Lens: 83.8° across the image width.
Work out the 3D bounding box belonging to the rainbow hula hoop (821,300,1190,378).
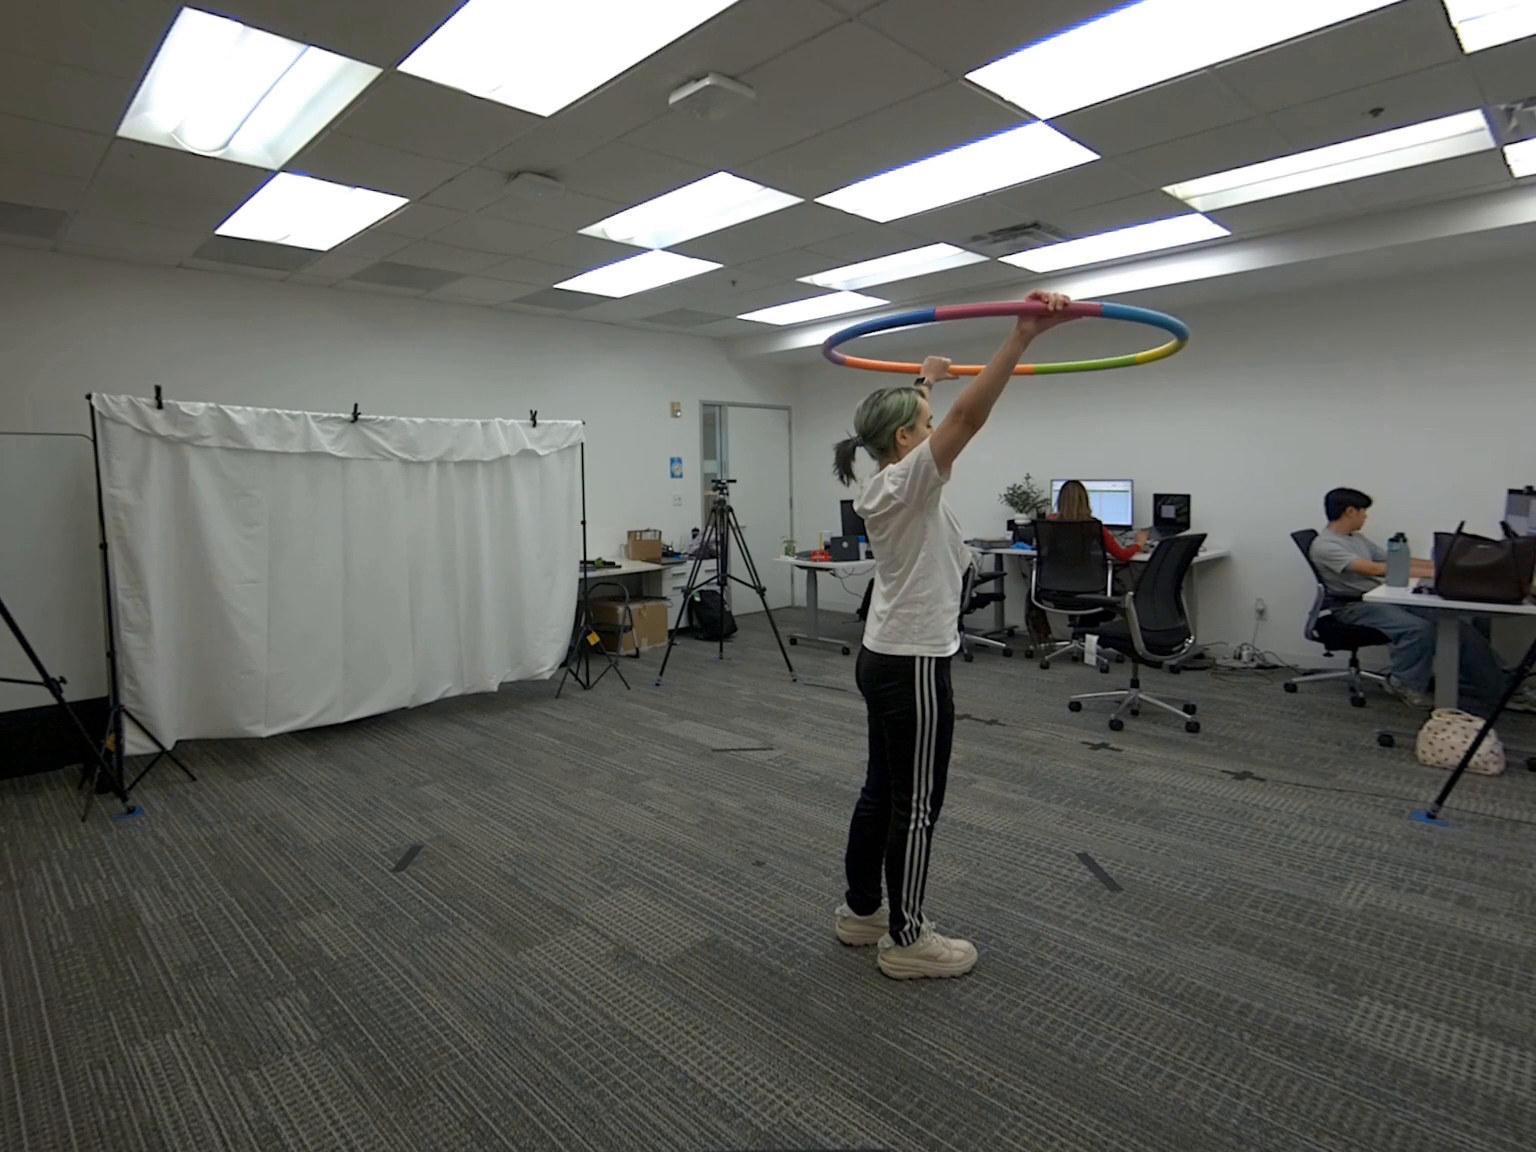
[{"bbox_3d":[0.637,-0.653,2.422,0.984,0.051,0.990,2,6,-2],"label":"rainbow hula hoop"}]
